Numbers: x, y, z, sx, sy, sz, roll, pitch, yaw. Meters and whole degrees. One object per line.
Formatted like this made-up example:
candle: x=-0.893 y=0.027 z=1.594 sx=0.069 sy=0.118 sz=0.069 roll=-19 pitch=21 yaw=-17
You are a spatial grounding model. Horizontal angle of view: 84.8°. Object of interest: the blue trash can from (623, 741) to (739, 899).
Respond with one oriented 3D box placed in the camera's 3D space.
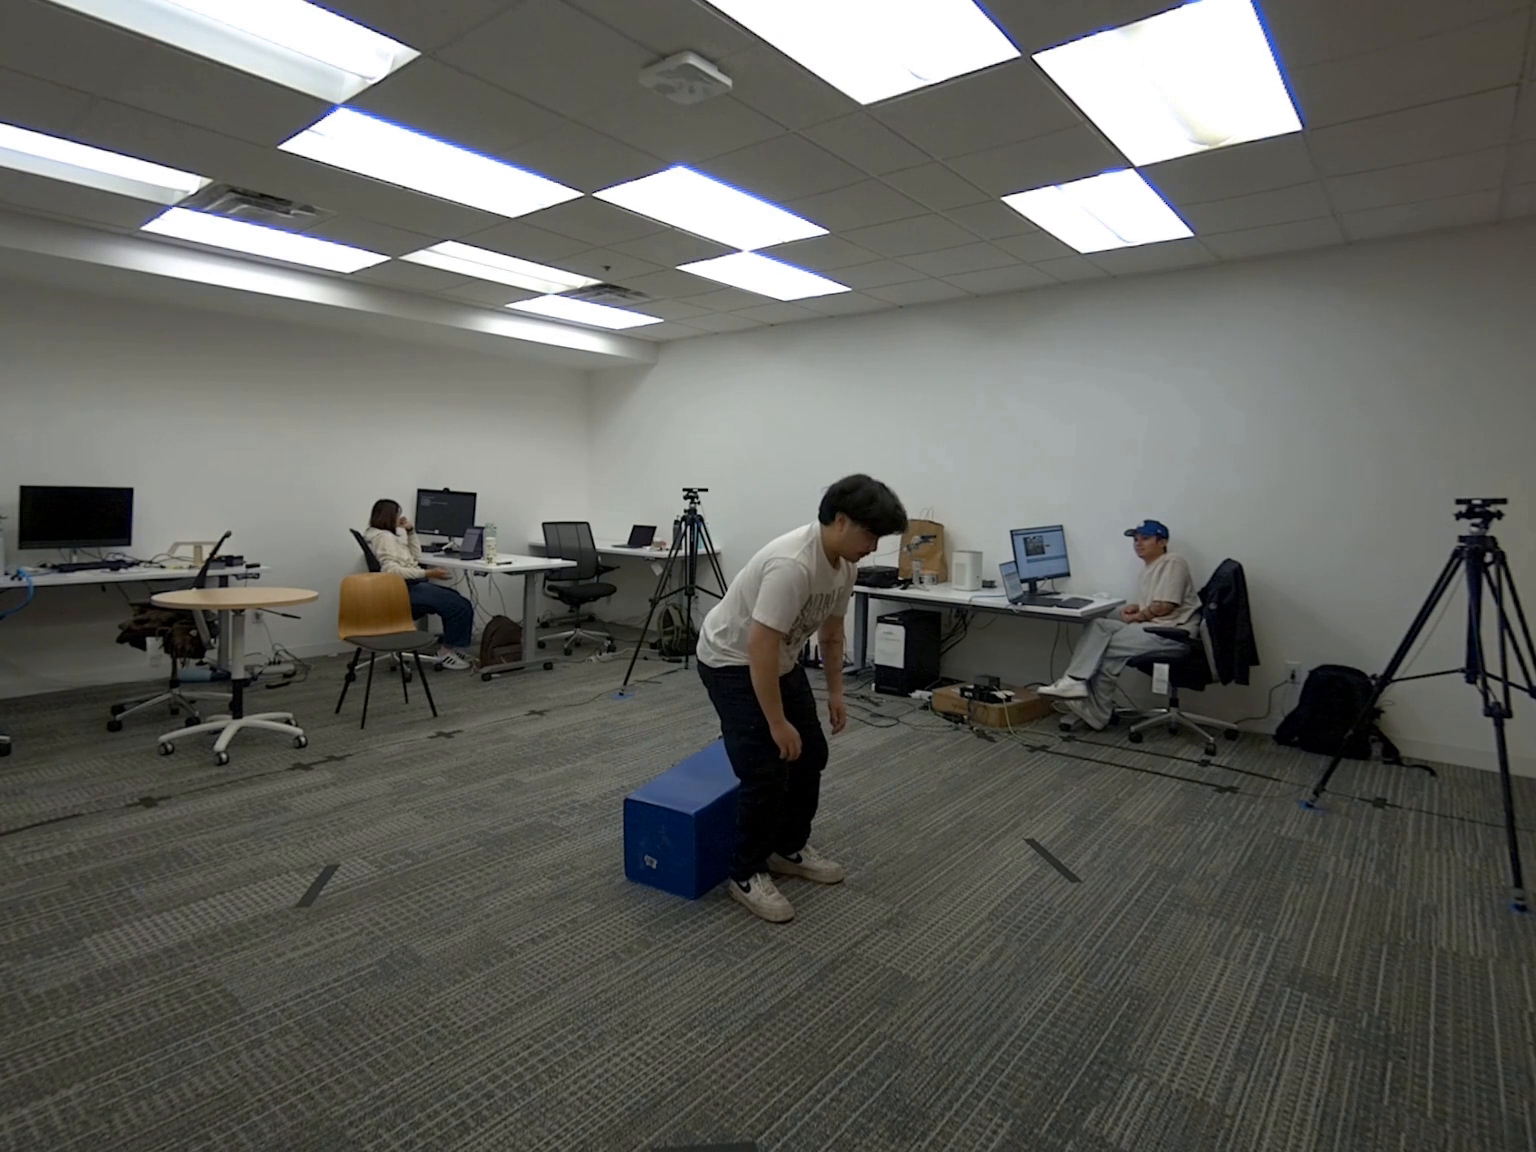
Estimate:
blue trash can: x=-0.225 y=0.895 z=3.232 sx=0.389 sy=0.371 sz=0.697 roll=5 pitch=9 yaw=29
